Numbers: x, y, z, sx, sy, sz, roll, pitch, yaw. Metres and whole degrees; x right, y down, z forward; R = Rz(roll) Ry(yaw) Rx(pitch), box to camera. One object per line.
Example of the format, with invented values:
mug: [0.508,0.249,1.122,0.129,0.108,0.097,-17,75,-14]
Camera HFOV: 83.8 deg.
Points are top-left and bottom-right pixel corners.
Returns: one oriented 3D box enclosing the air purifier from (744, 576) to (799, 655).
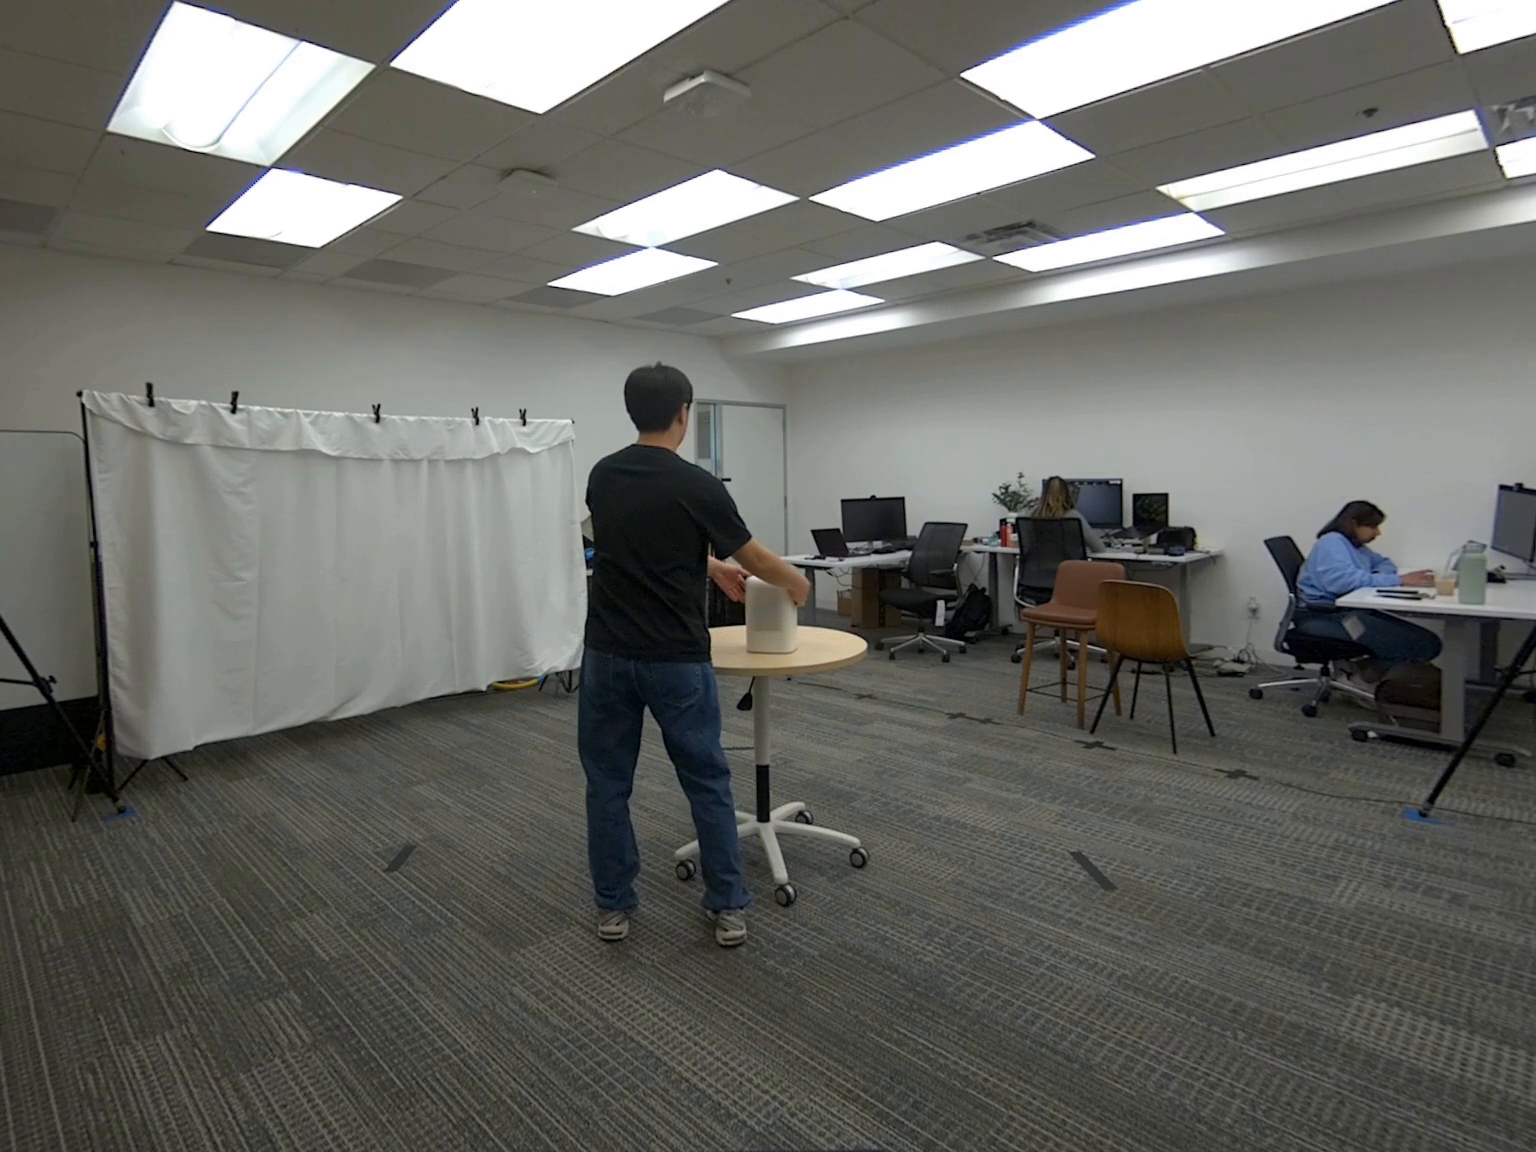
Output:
air purifier: [0.015,0.125,2.997,0.174,0.264,0.169,1,7,14]
